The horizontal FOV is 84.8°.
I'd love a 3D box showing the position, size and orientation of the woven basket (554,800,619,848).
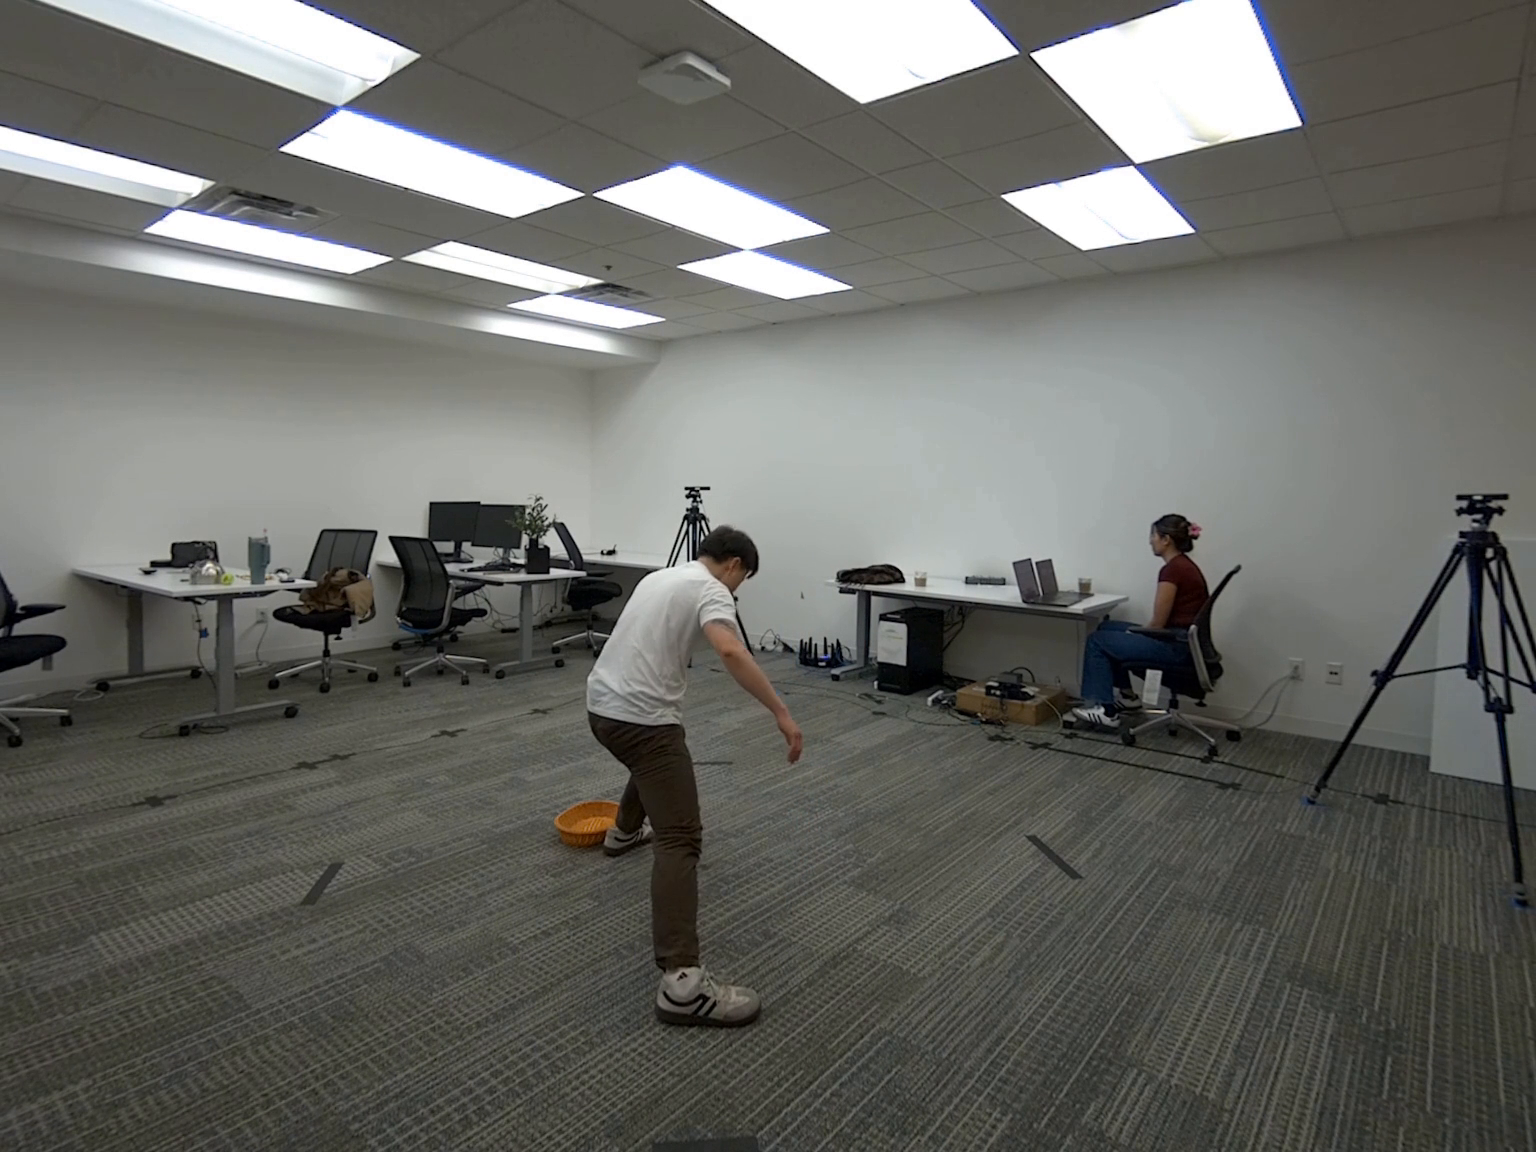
[{"bbox_3d":[-0.717,0.990,3.407,0.258,0.073,0.344,4,6,18],"label":"woven basket"}]
